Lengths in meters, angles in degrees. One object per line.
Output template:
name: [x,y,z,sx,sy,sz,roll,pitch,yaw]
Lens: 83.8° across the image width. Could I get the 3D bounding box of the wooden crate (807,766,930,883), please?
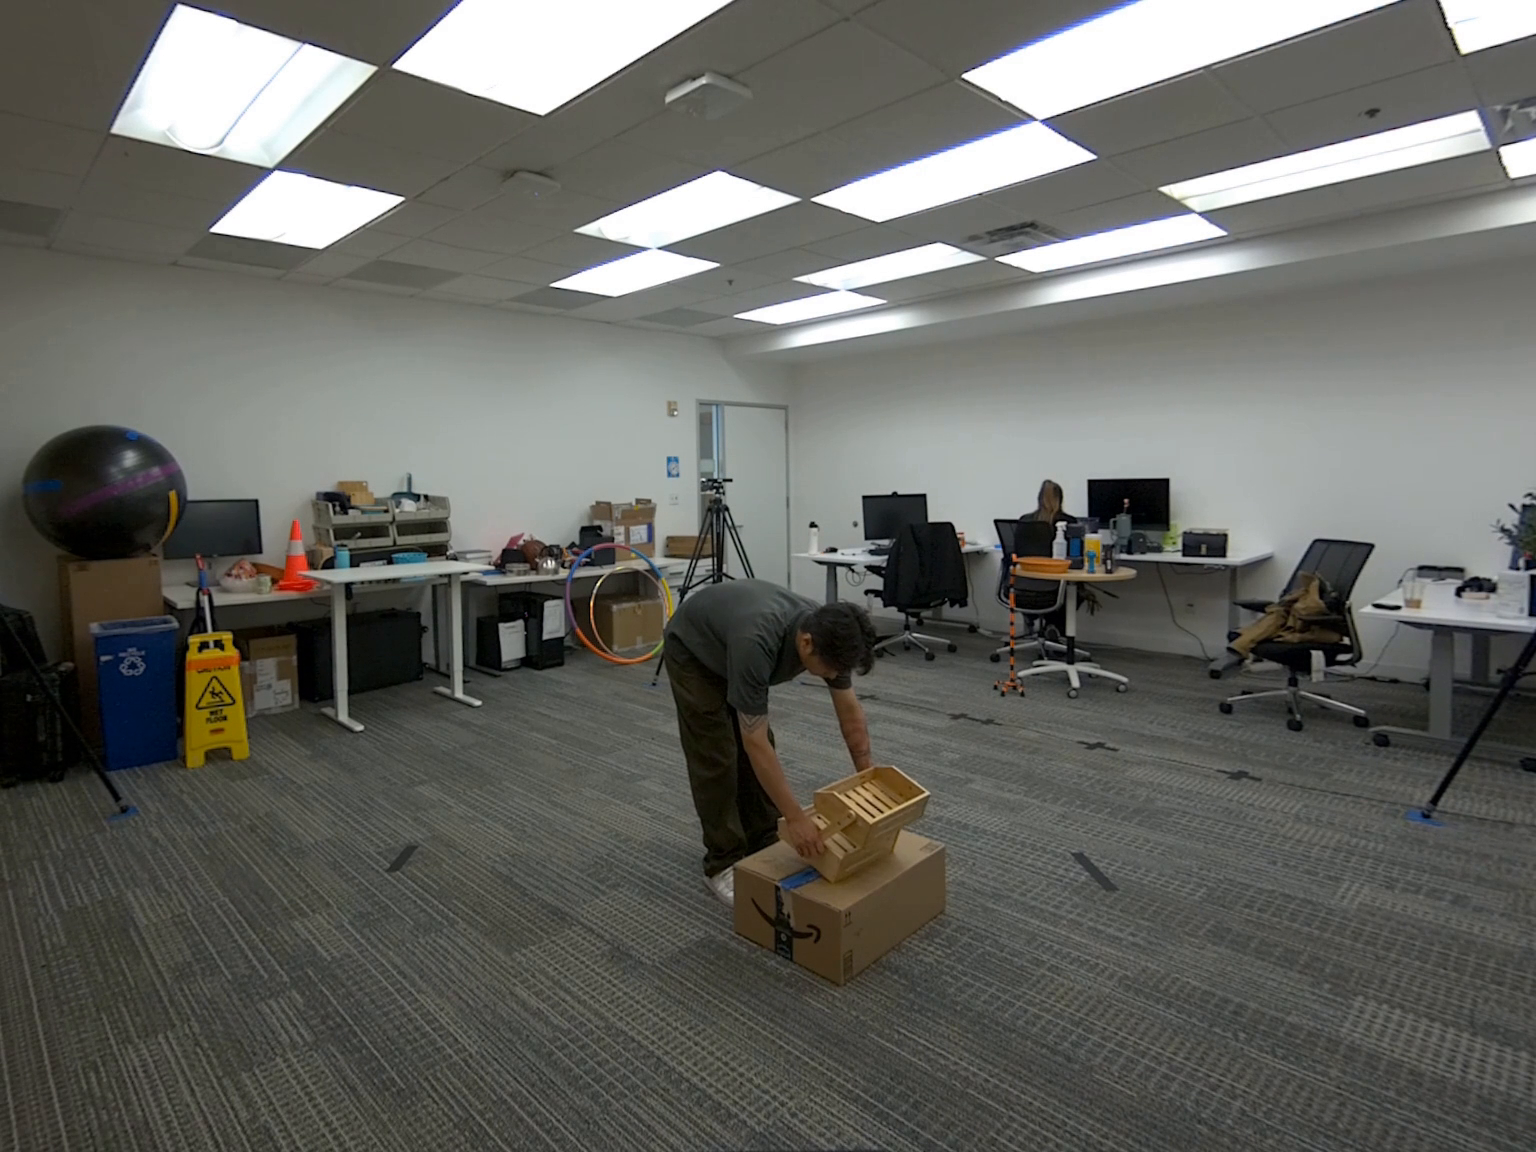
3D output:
wooden crate: [0.270,0.729,2.617,0.316,0.270,0.314,-7,29,-44]
